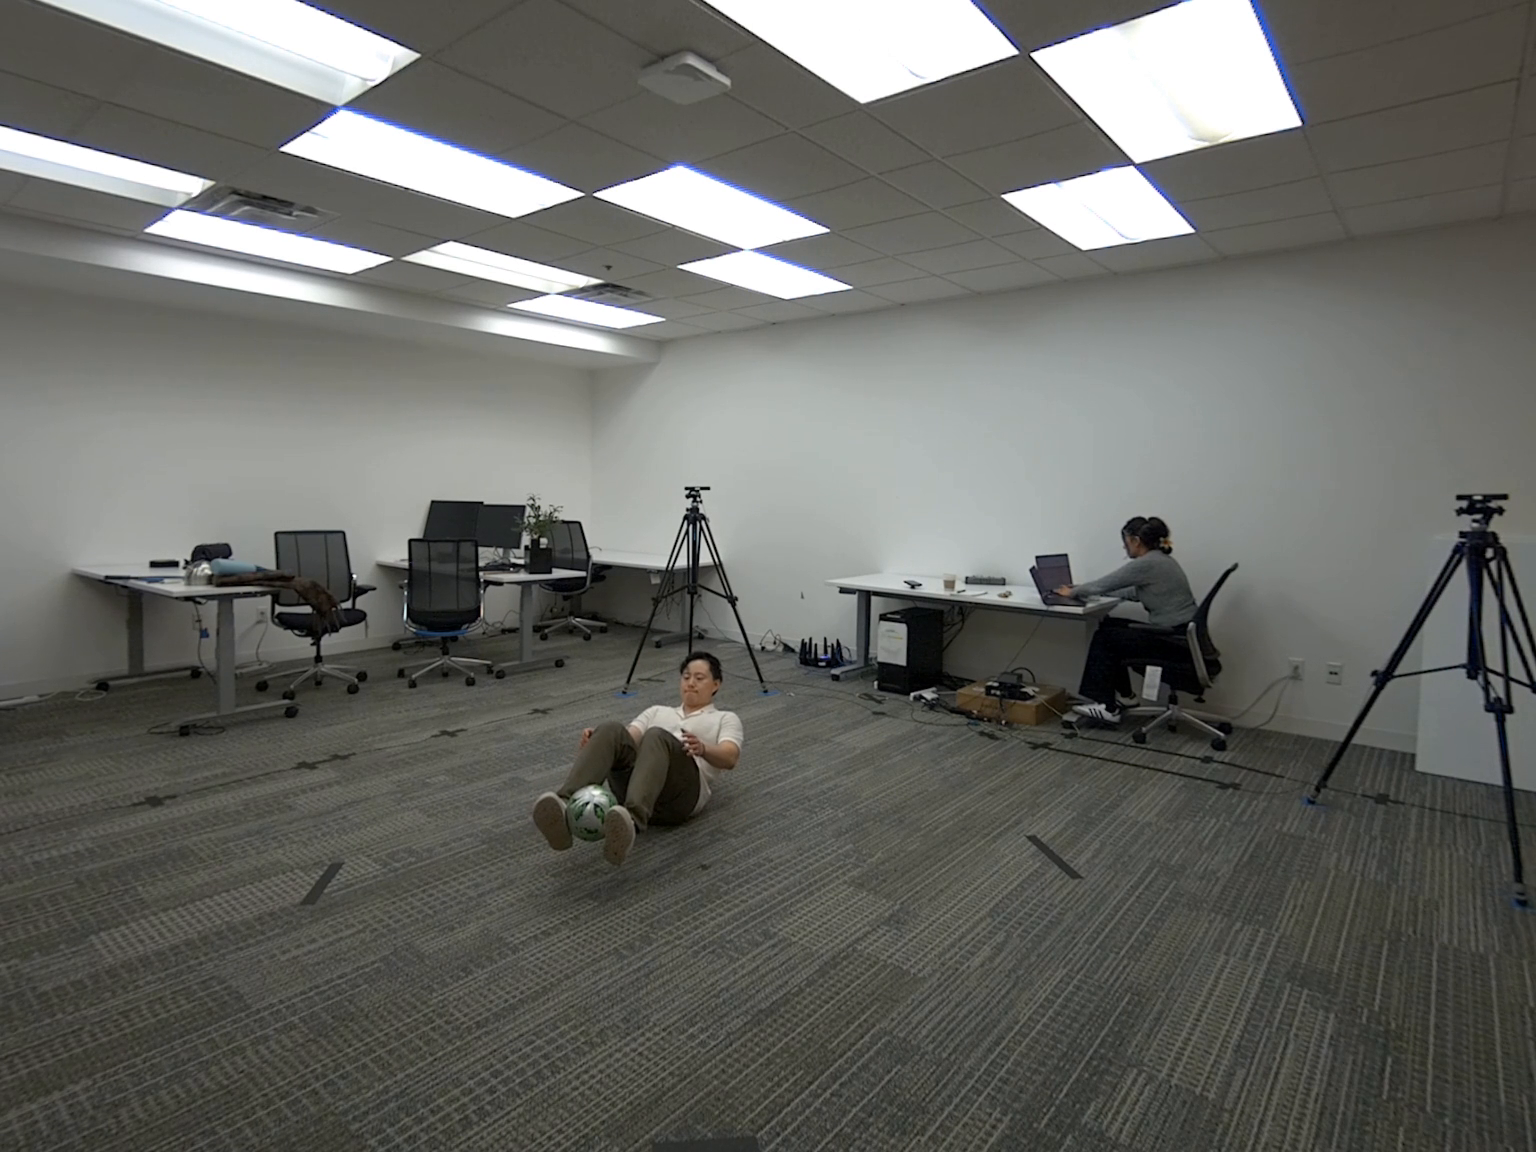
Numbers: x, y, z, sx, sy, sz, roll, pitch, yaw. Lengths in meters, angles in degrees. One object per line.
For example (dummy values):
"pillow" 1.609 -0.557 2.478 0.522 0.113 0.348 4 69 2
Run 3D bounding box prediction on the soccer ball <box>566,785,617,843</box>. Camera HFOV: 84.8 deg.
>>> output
"soccer ball" -0.638 0.827 2.971 0.187 0.187 0.188 1 4 -2
